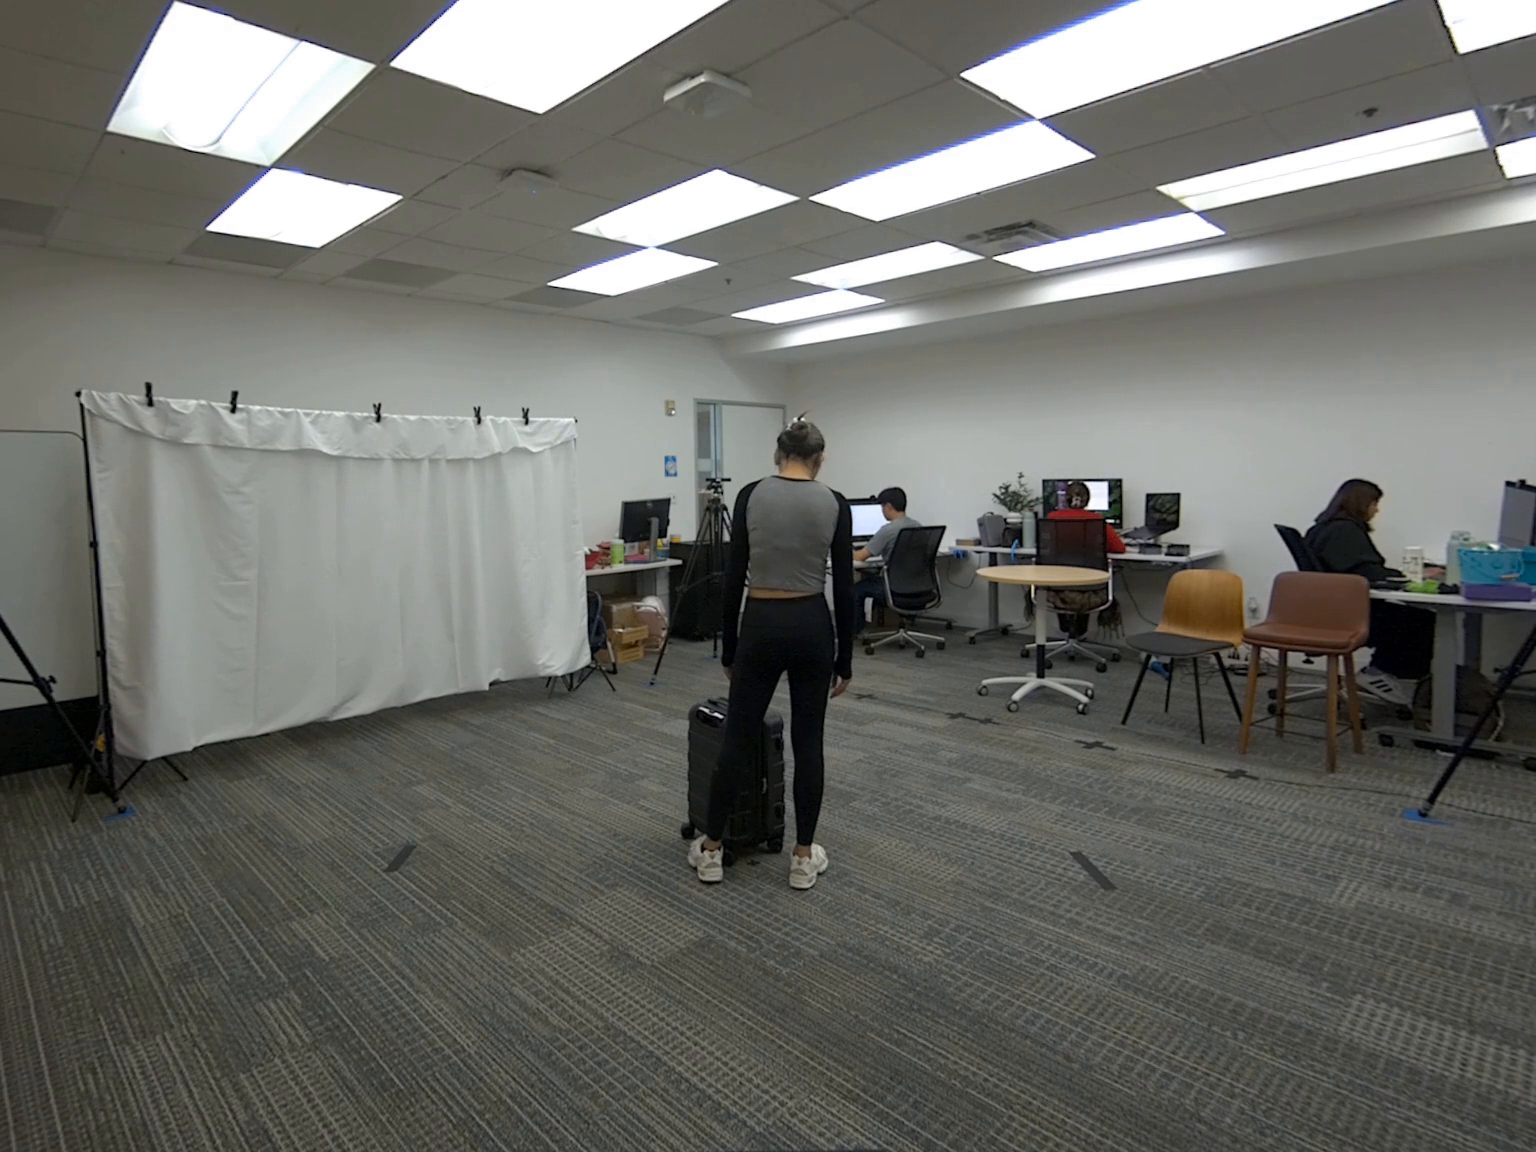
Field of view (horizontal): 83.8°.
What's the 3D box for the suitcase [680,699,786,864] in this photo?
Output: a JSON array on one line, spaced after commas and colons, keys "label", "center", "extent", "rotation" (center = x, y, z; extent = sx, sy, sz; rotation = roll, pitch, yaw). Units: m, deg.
[{"label": "suitcase", "center": [-0.126, 0.751, 3.259], "extent": [0.242, 0.548, 0.386], "rotation": [-2, 4, -35]}]
